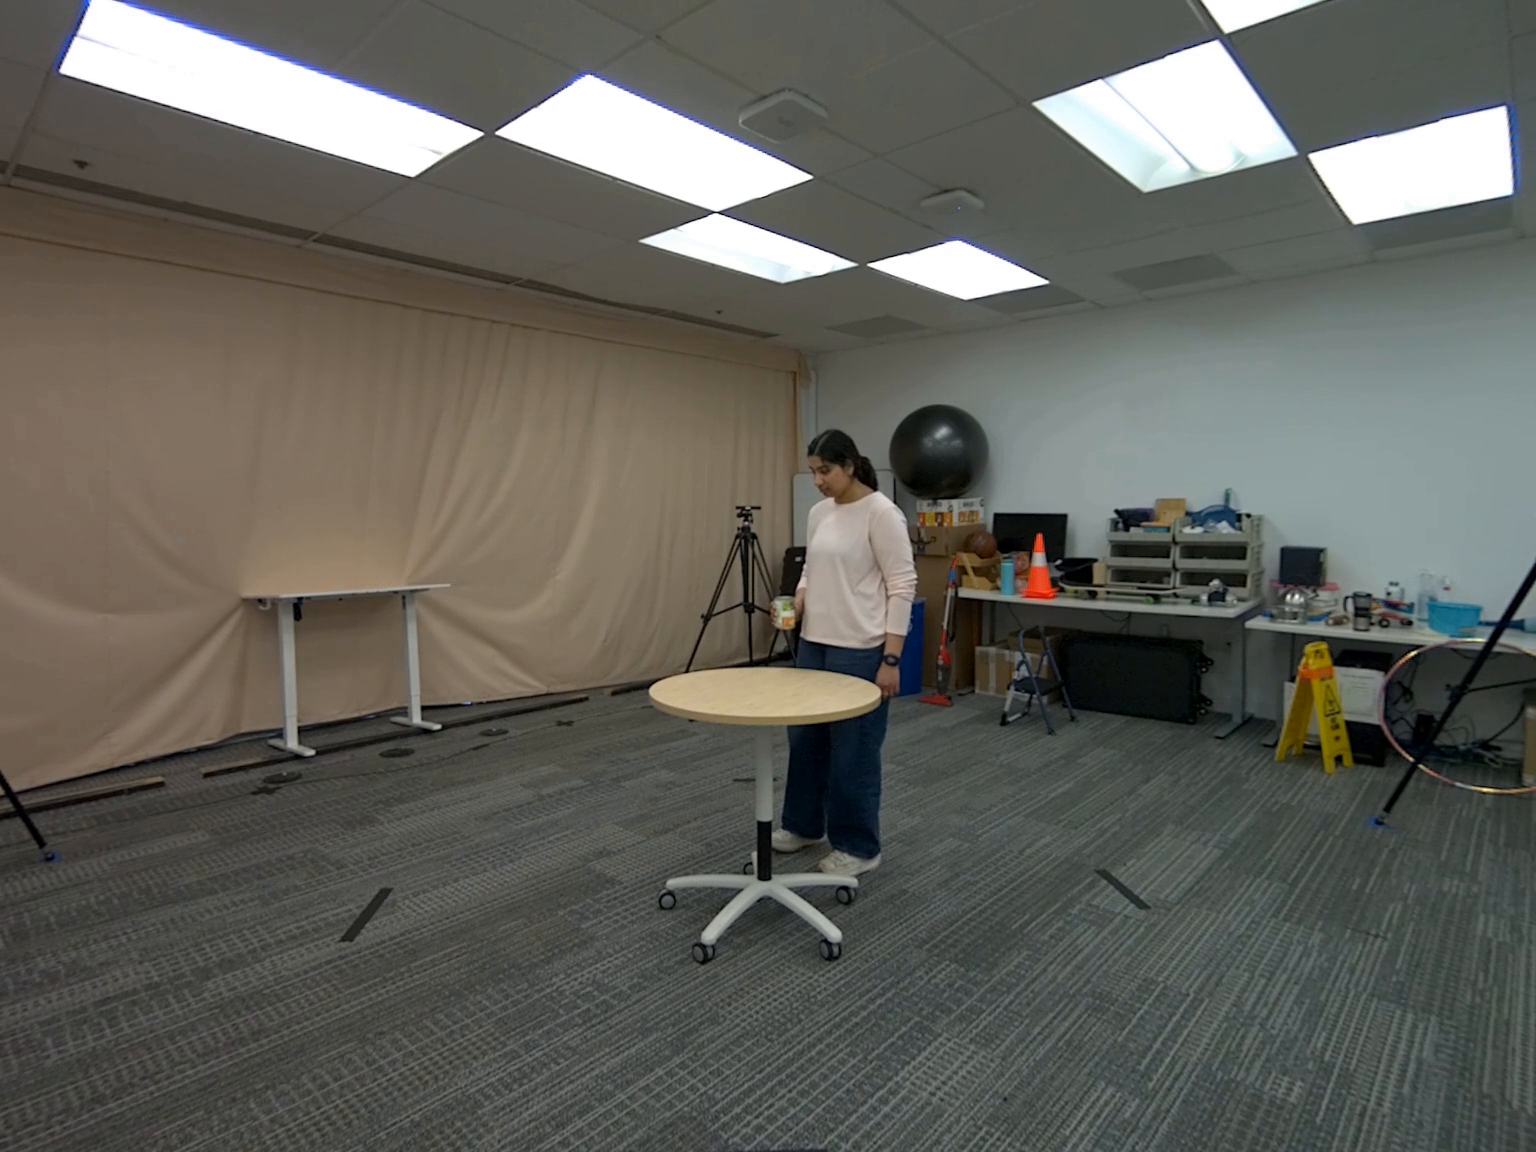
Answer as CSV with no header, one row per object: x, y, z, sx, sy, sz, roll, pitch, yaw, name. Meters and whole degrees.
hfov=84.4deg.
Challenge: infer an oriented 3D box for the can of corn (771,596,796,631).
0.065,0.139,3.162,0.074,0.111,0.074,-4,0,-2,can of corn
